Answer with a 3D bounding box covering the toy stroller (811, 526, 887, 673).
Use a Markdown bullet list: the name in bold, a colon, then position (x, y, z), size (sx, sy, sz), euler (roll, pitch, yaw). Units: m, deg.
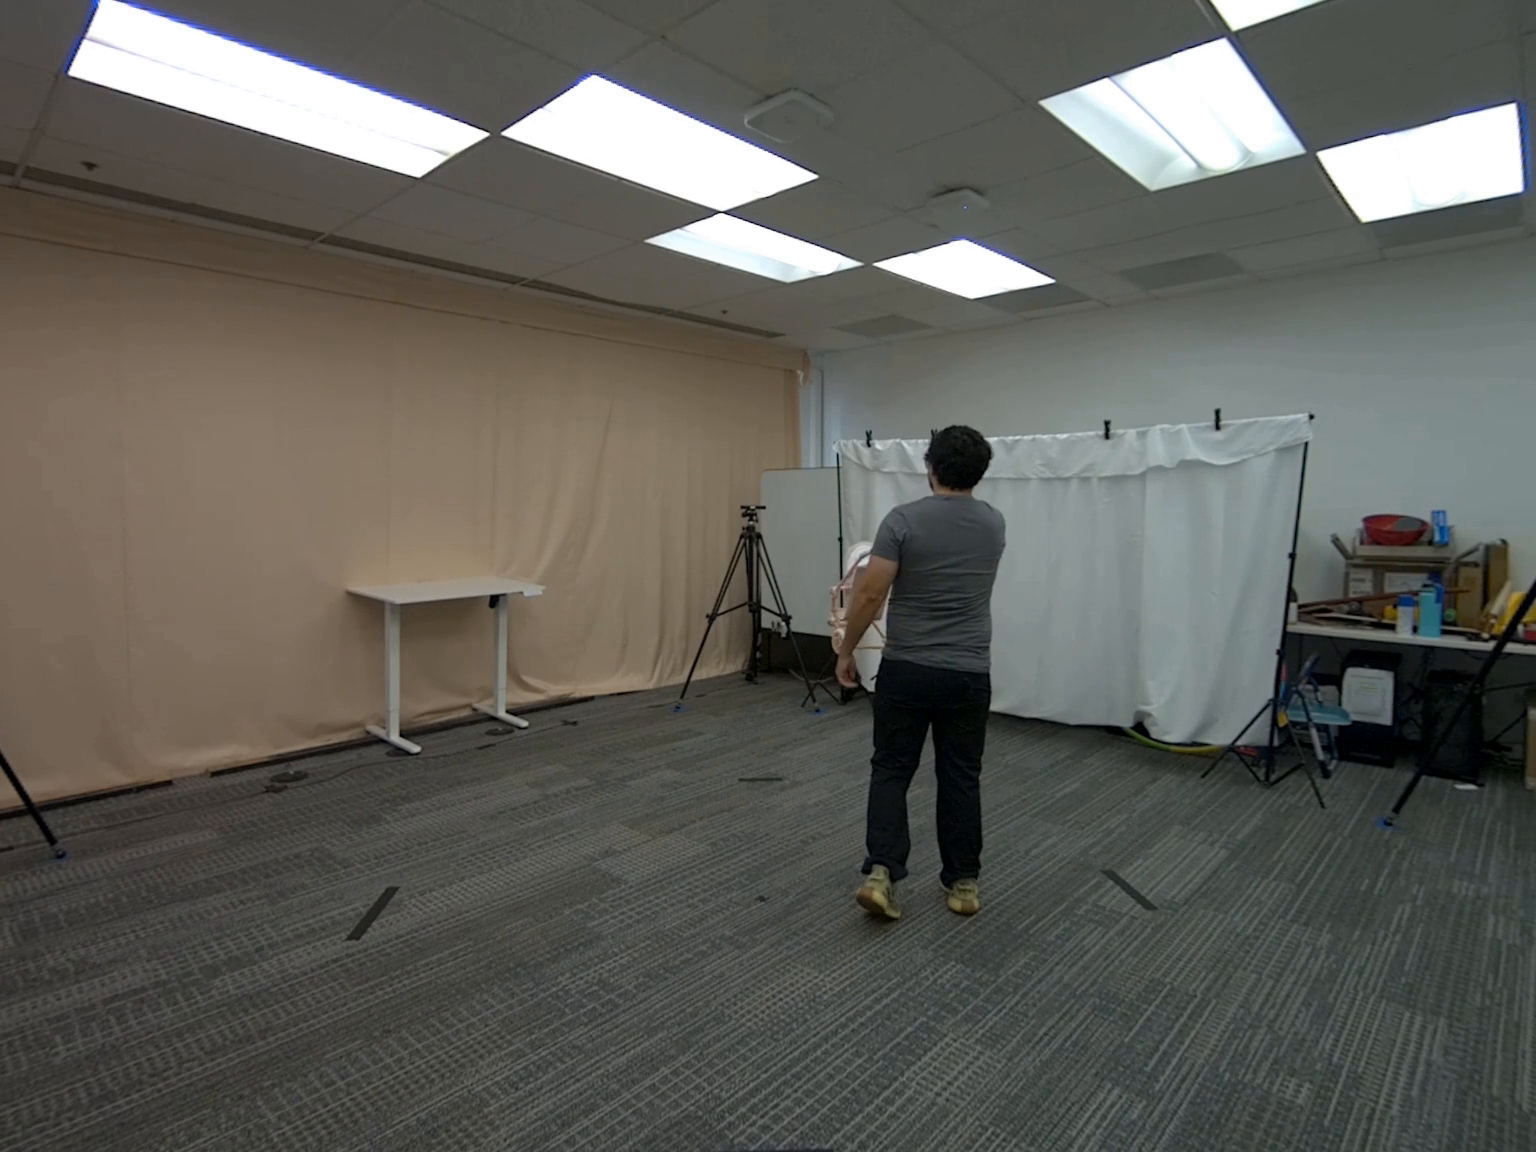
- **toy stroller**: position (0.409, 0.093, 3.629), size (0.277, 0.531, 0.350), euler (3, 16, -16)
